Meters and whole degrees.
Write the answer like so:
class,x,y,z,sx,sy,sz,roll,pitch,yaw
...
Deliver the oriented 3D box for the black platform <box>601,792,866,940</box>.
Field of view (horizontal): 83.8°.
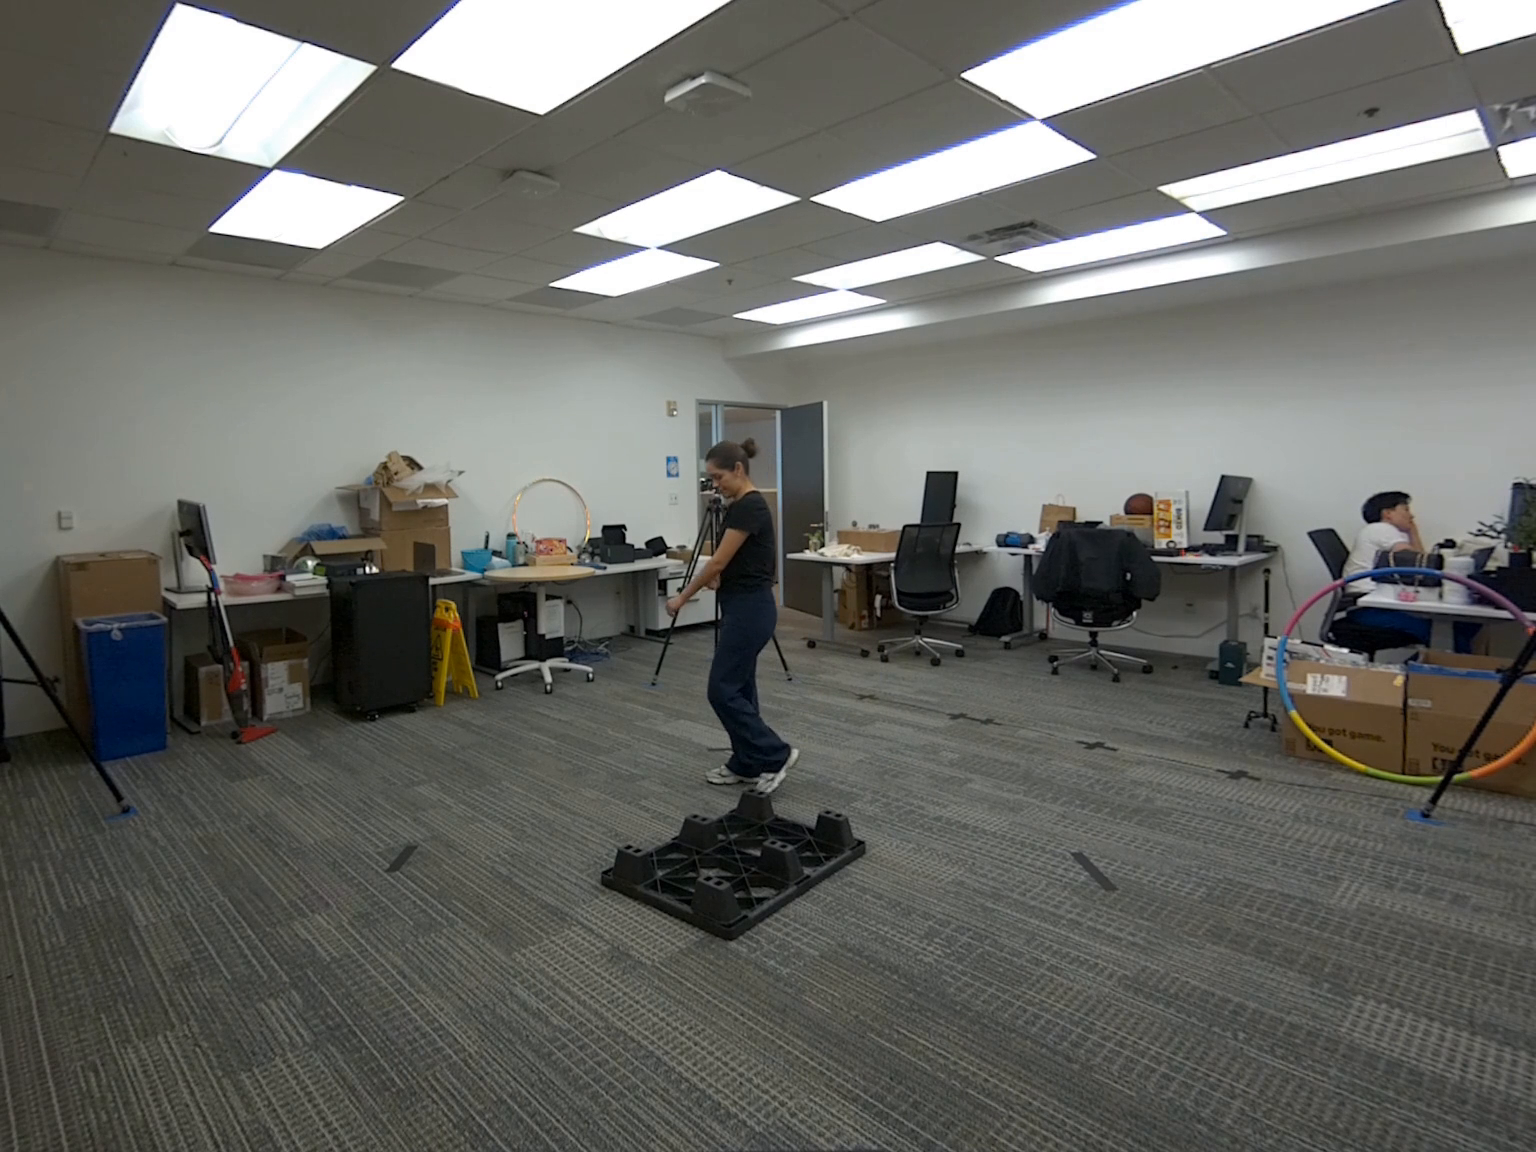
class,x,y,z,sx,sy,sz,roll,pitch,yaw
black platform,-0.111,0.981,3.088,0.623,0.142,0.785,5,8,39
